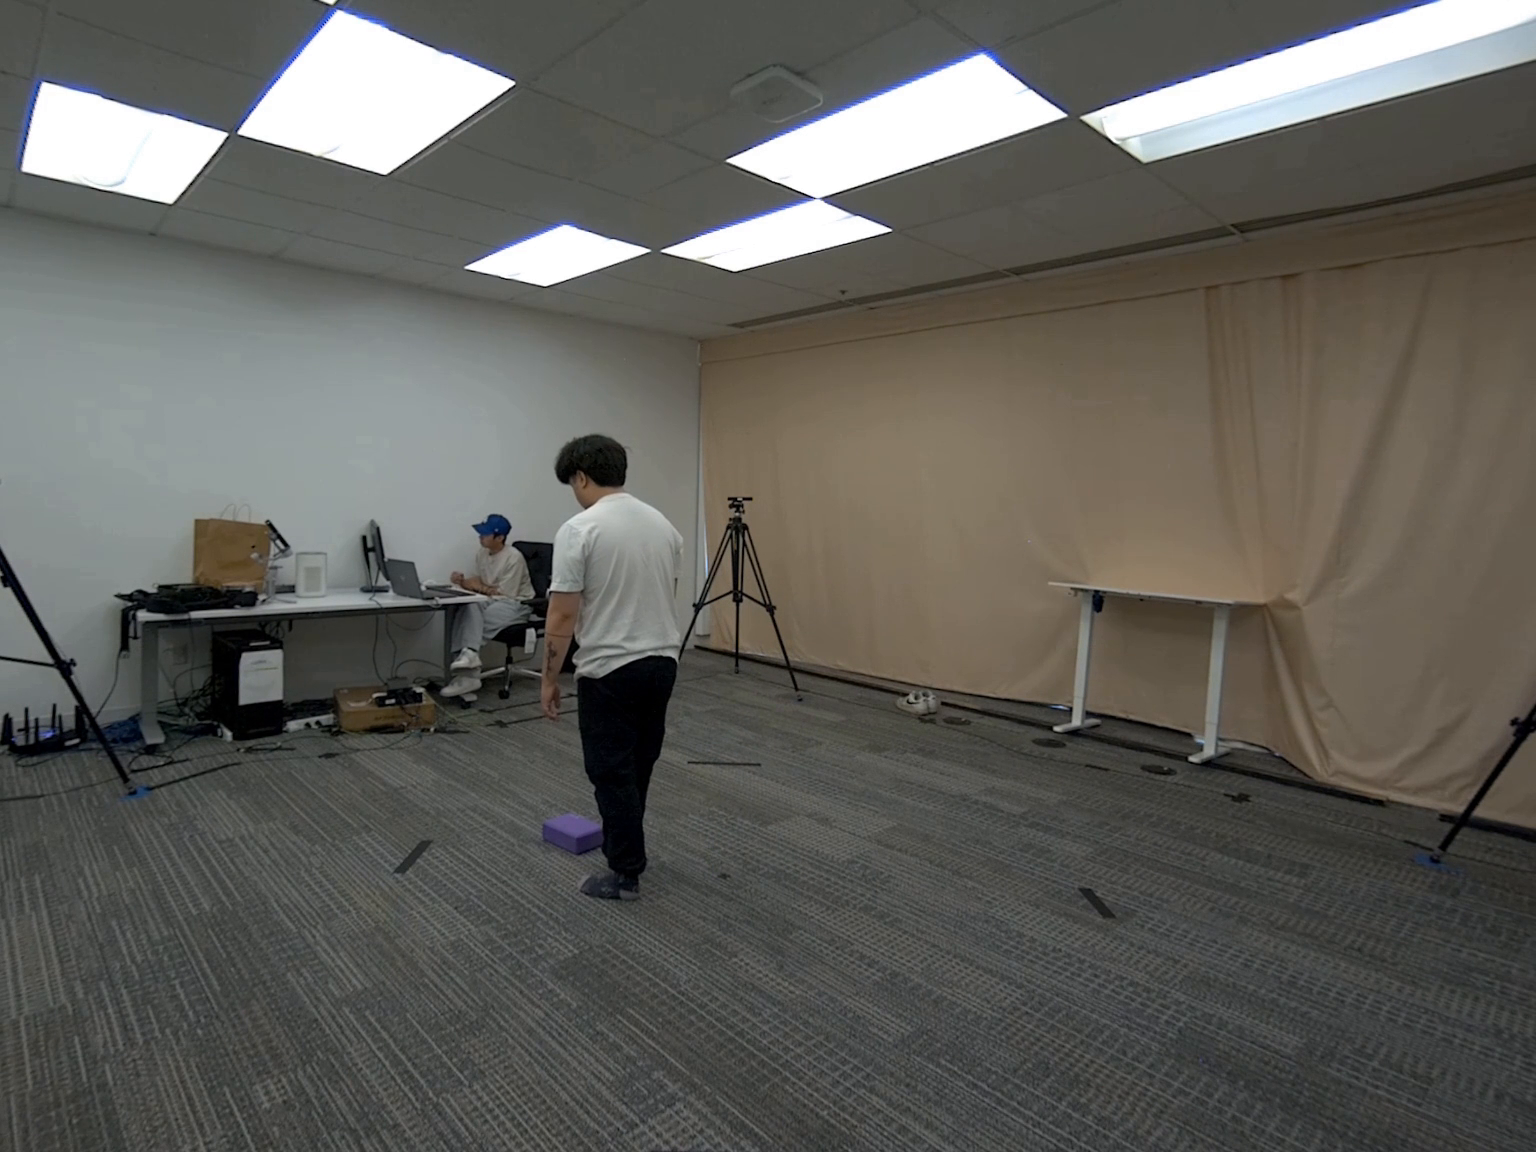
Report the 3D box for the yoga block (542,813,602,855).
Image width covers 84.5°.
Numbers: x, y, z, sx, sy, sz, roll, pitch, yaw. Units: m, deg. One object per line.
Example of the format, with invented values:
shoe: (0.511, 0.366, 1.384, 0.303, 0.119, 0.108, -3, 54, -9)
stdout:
yoga block: (-0.785, 1.030, 3.371, 0.235, 0.076, 0.146, 5, 7, 39)
